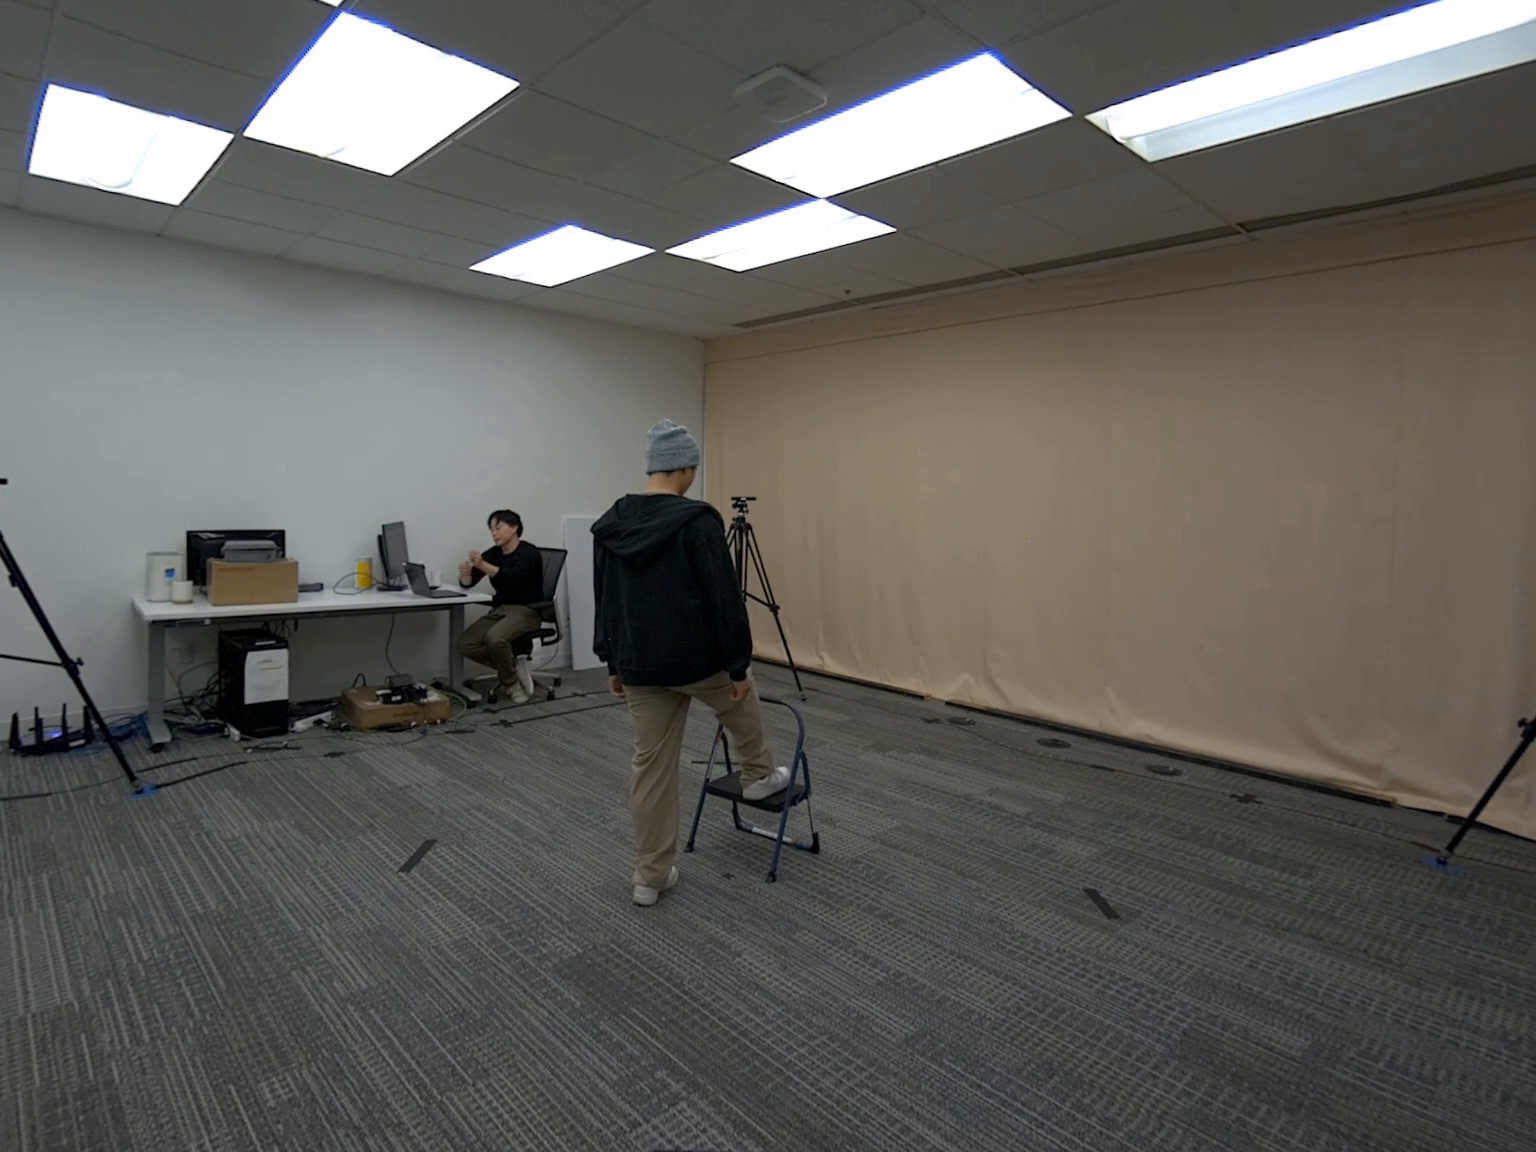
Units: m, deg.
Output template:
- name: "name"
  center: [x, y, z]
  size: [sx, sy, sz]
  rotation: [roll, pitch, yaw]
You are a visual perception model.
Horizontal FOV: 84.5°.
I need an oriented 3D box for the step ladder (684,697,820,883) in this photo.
- name: "step ladder"
  center: [-0.056, 0.788, 3.308]
  size: [0.441, 0.605, 0.341]
  rotation: [4, 4, 36]
